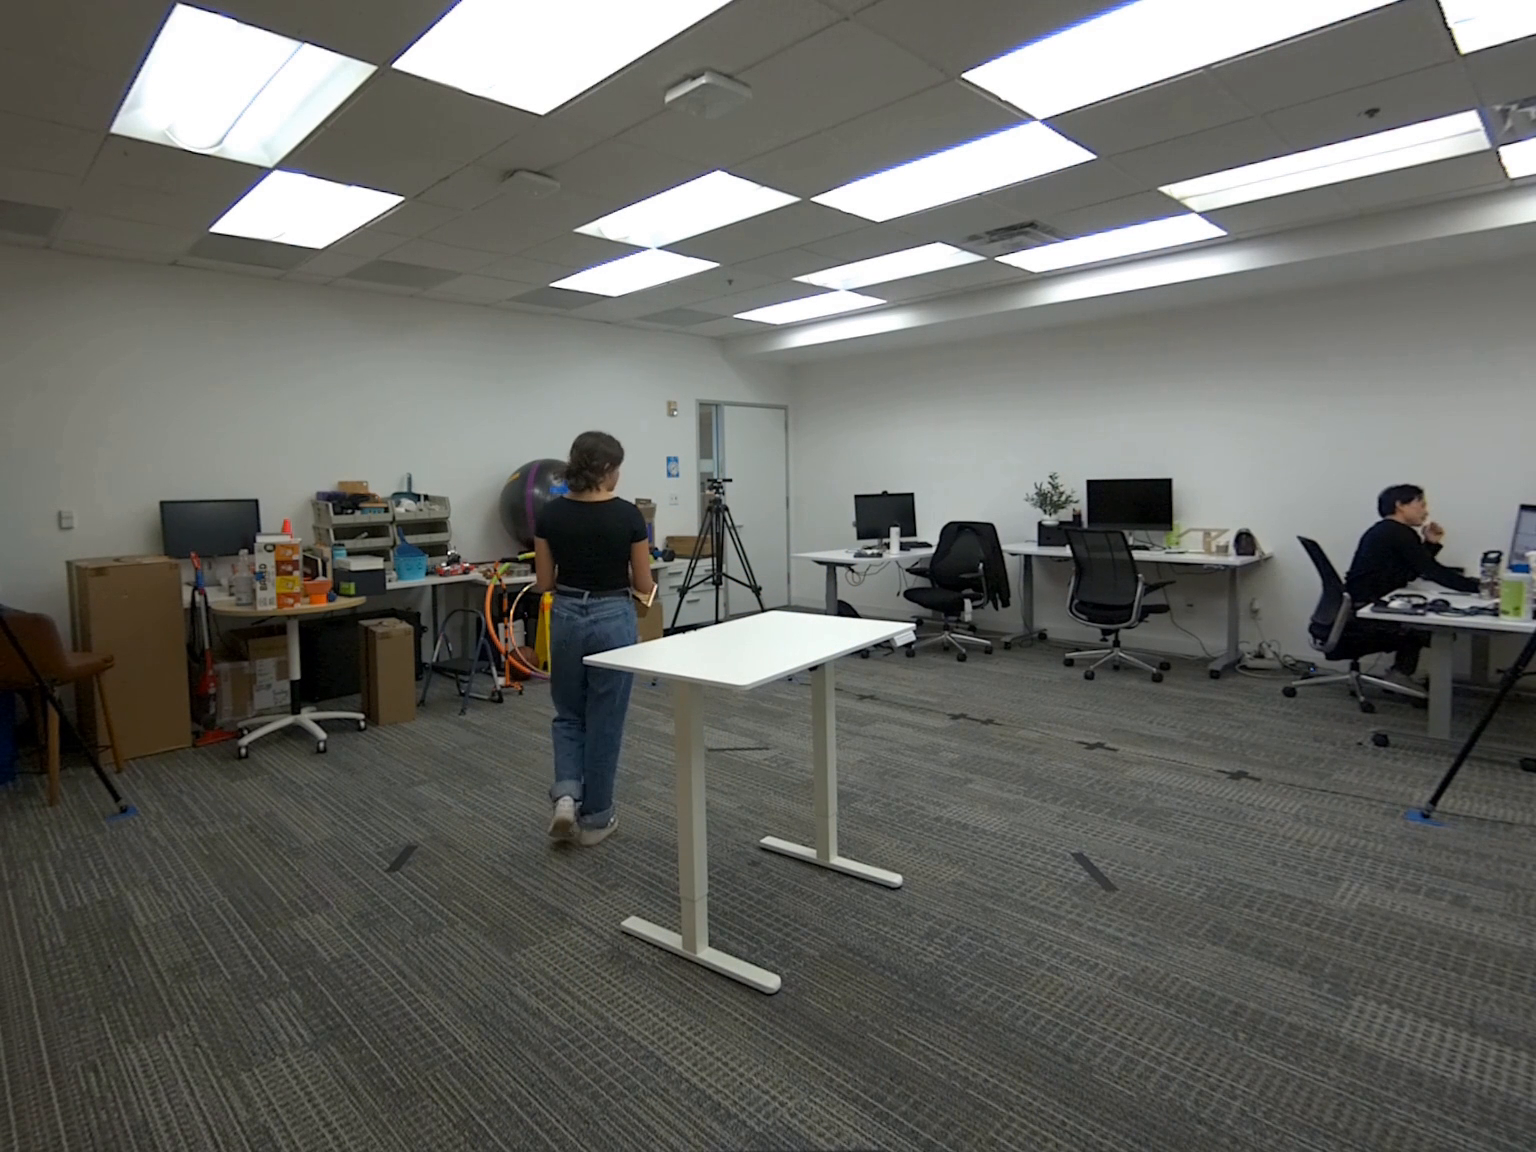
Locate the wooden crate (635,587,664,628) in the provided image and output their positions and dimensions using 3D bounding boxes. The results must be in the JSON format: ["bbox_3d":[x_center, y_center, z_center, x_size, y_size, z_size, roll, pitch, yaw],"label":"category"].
[{"bbox_3d":[-0.614,-0.002,3.572,0.302,0.270,0.328,-1,14,0],"label":"wooden crate"}]
